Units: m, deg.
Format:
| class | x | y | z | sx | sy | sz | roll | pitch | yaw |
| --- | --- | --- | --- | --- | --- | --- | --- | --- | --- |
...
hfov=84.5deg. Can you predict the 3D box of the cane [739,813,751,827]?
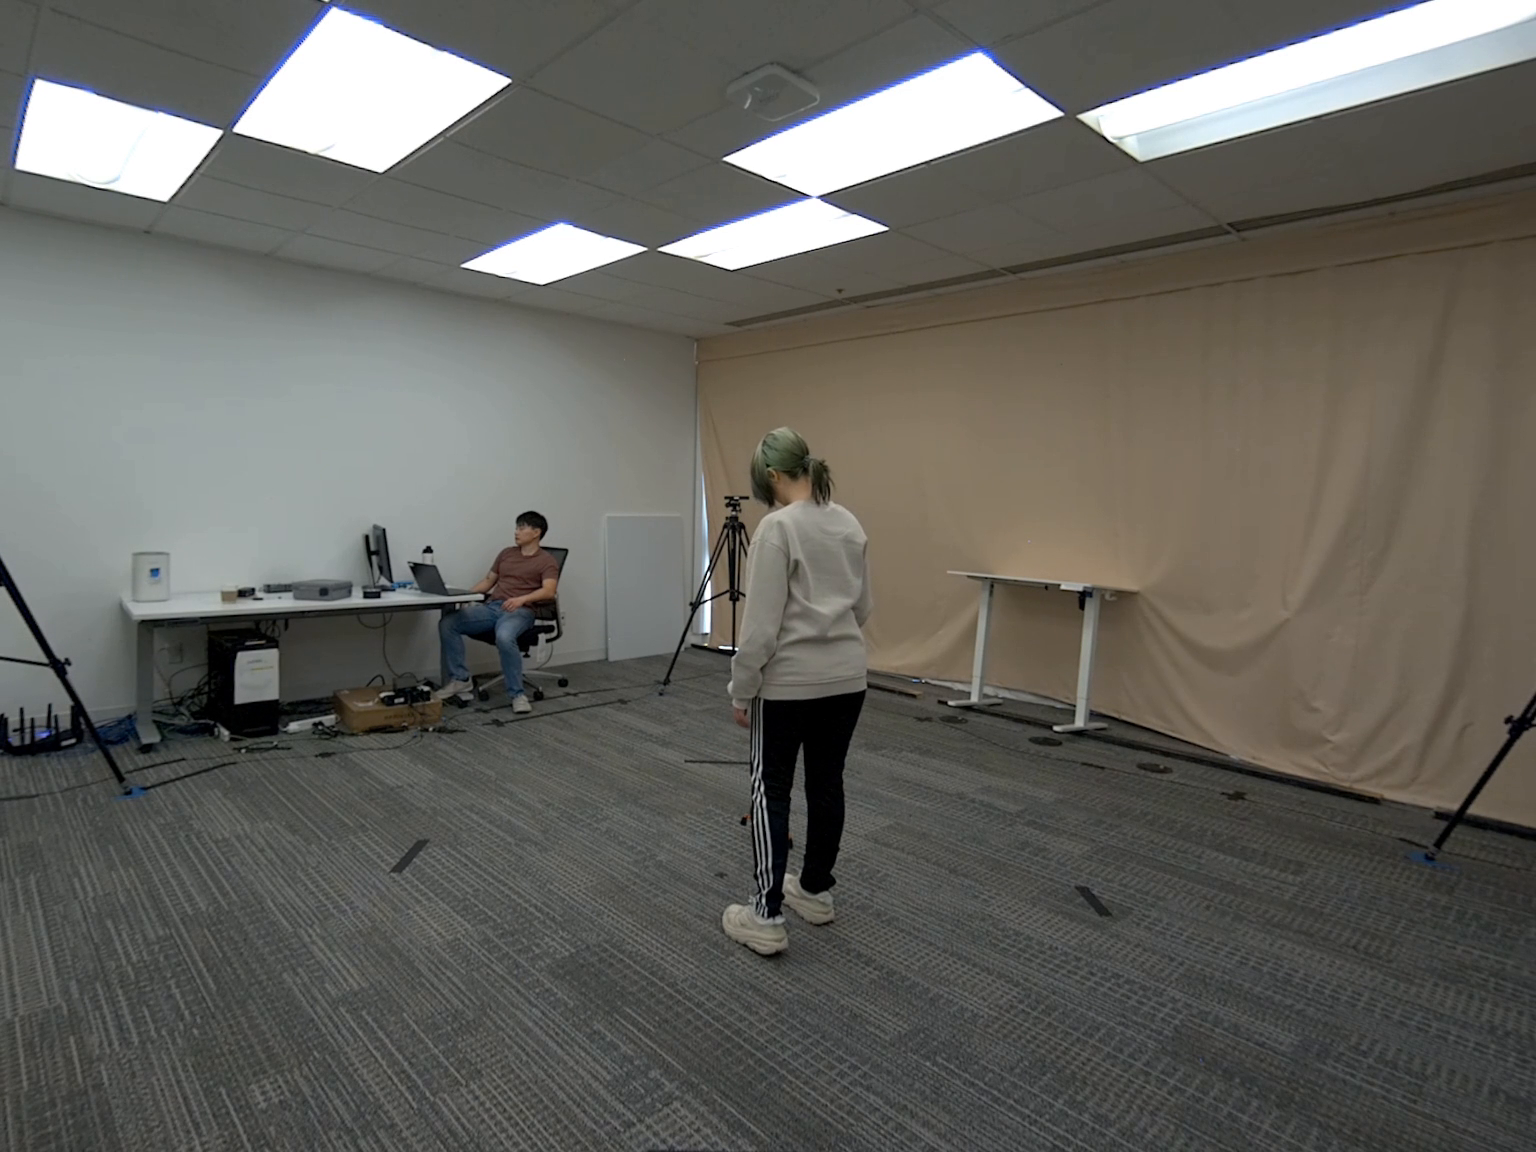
| class | x | y | z | sx | sy | sz | roll | pitch | yaw |
| --- | --- | --- | --- | --- | --- | --- | --- | --- | --- |
| cane | 0.056 | 0.636 | 3.287 | 0.149 | 0.899 | 0.212 | 1 | 19 | -27 |
